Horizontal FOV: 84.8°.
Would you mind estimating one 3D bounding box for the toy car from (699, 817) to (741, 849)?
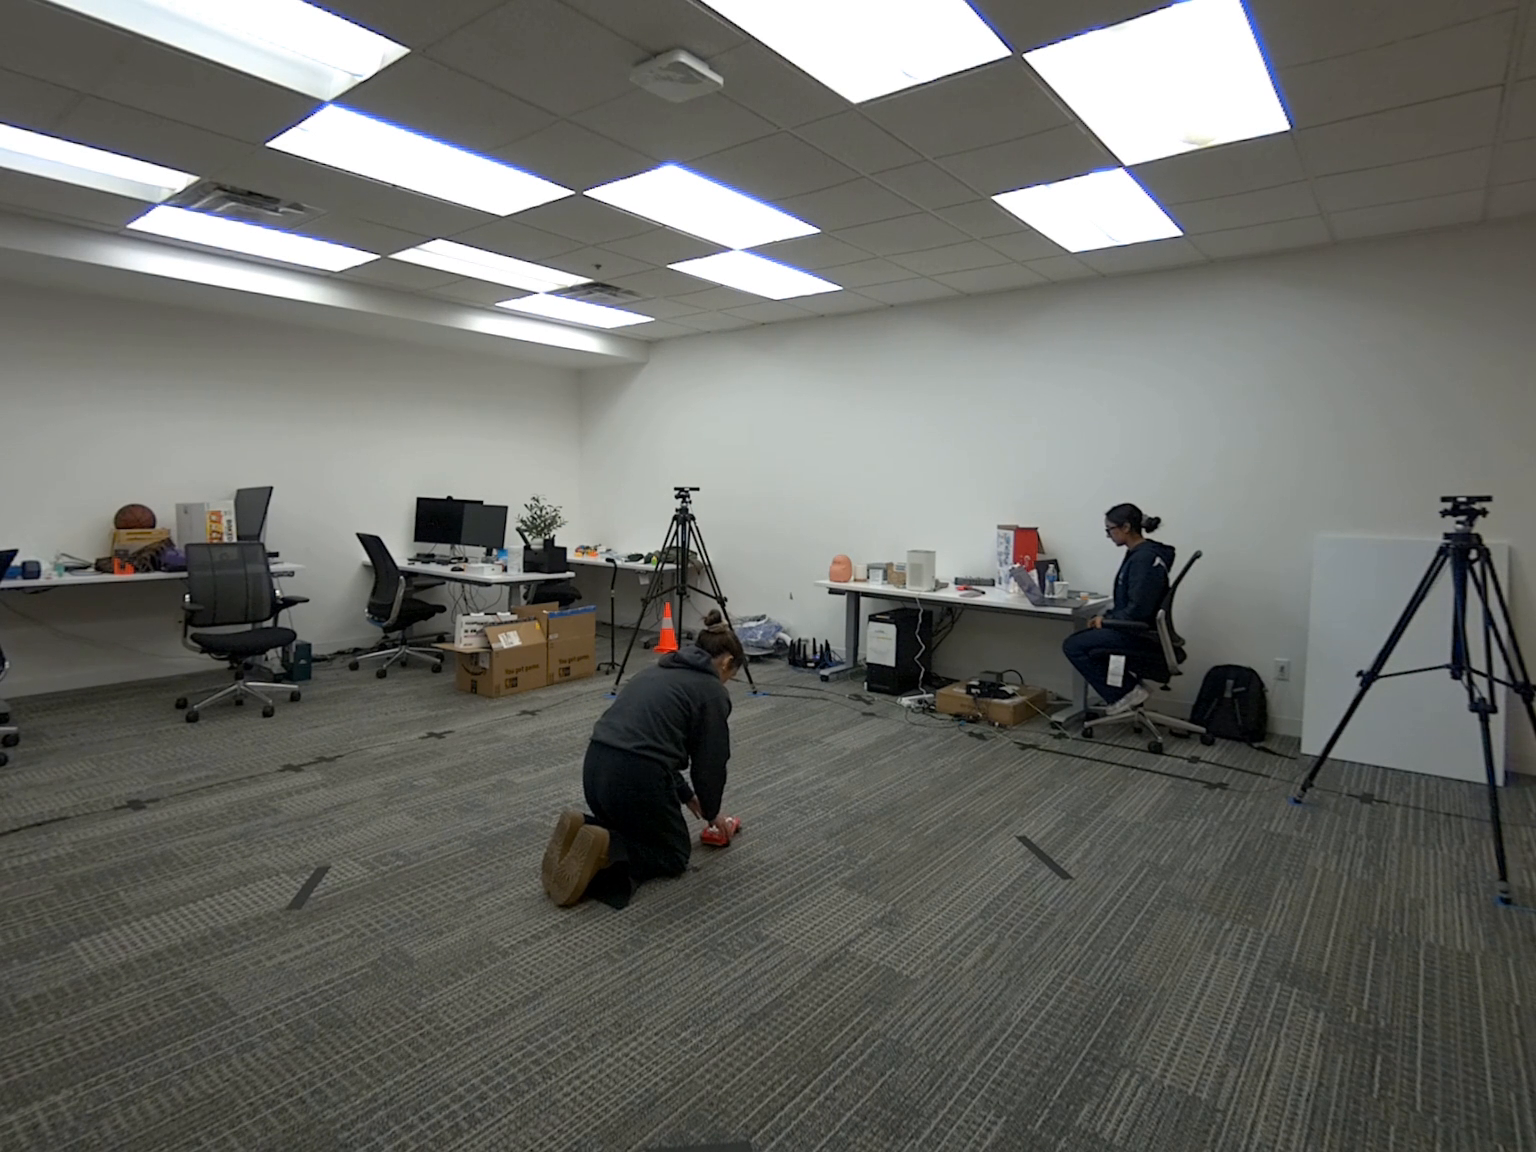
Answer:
[{"bbox_3d":[-0.198,1.009,3.372,0.133,0.083,0.248,1,-5,17],"label":"toy car"}]
